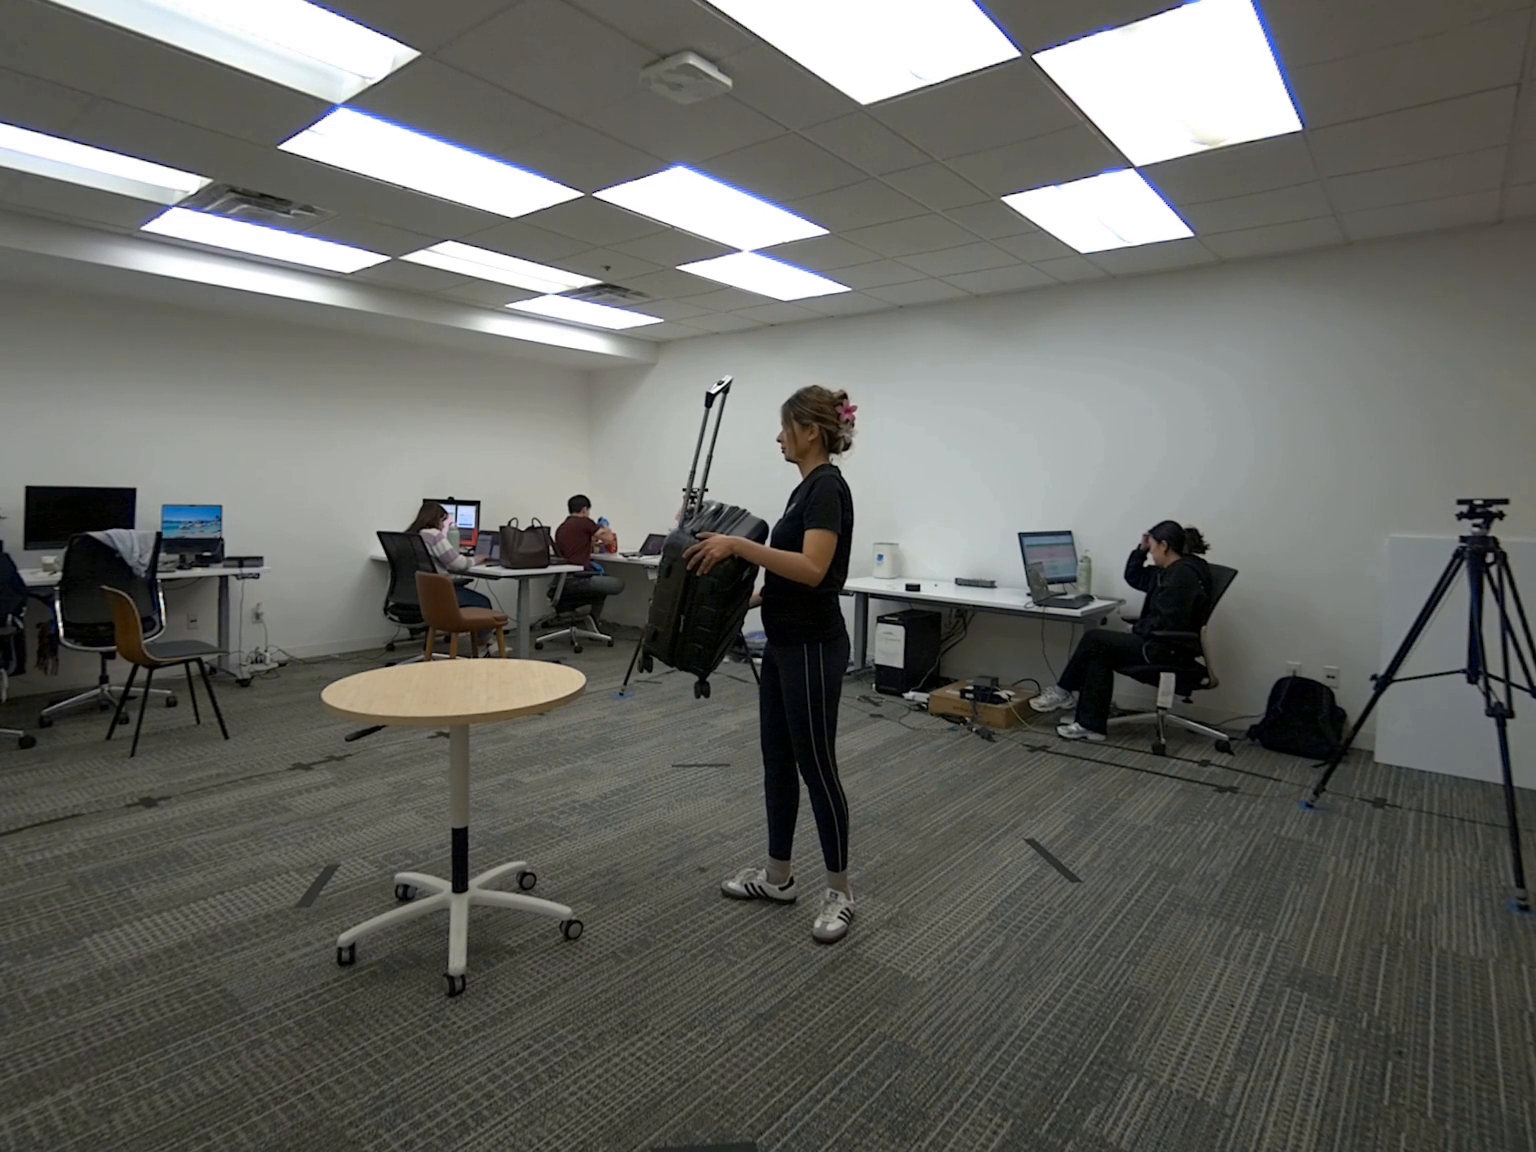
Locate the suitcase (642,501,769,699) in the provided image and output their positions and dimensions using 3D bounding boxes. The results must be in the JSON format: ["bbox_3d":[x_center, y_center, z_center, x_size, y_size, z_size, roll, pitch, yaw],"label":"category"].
[{"bbox_3d":[-0.157,-0.128,2.677,0.261,0.962,0.385,23,33,9],"label":"suitcase"}]
